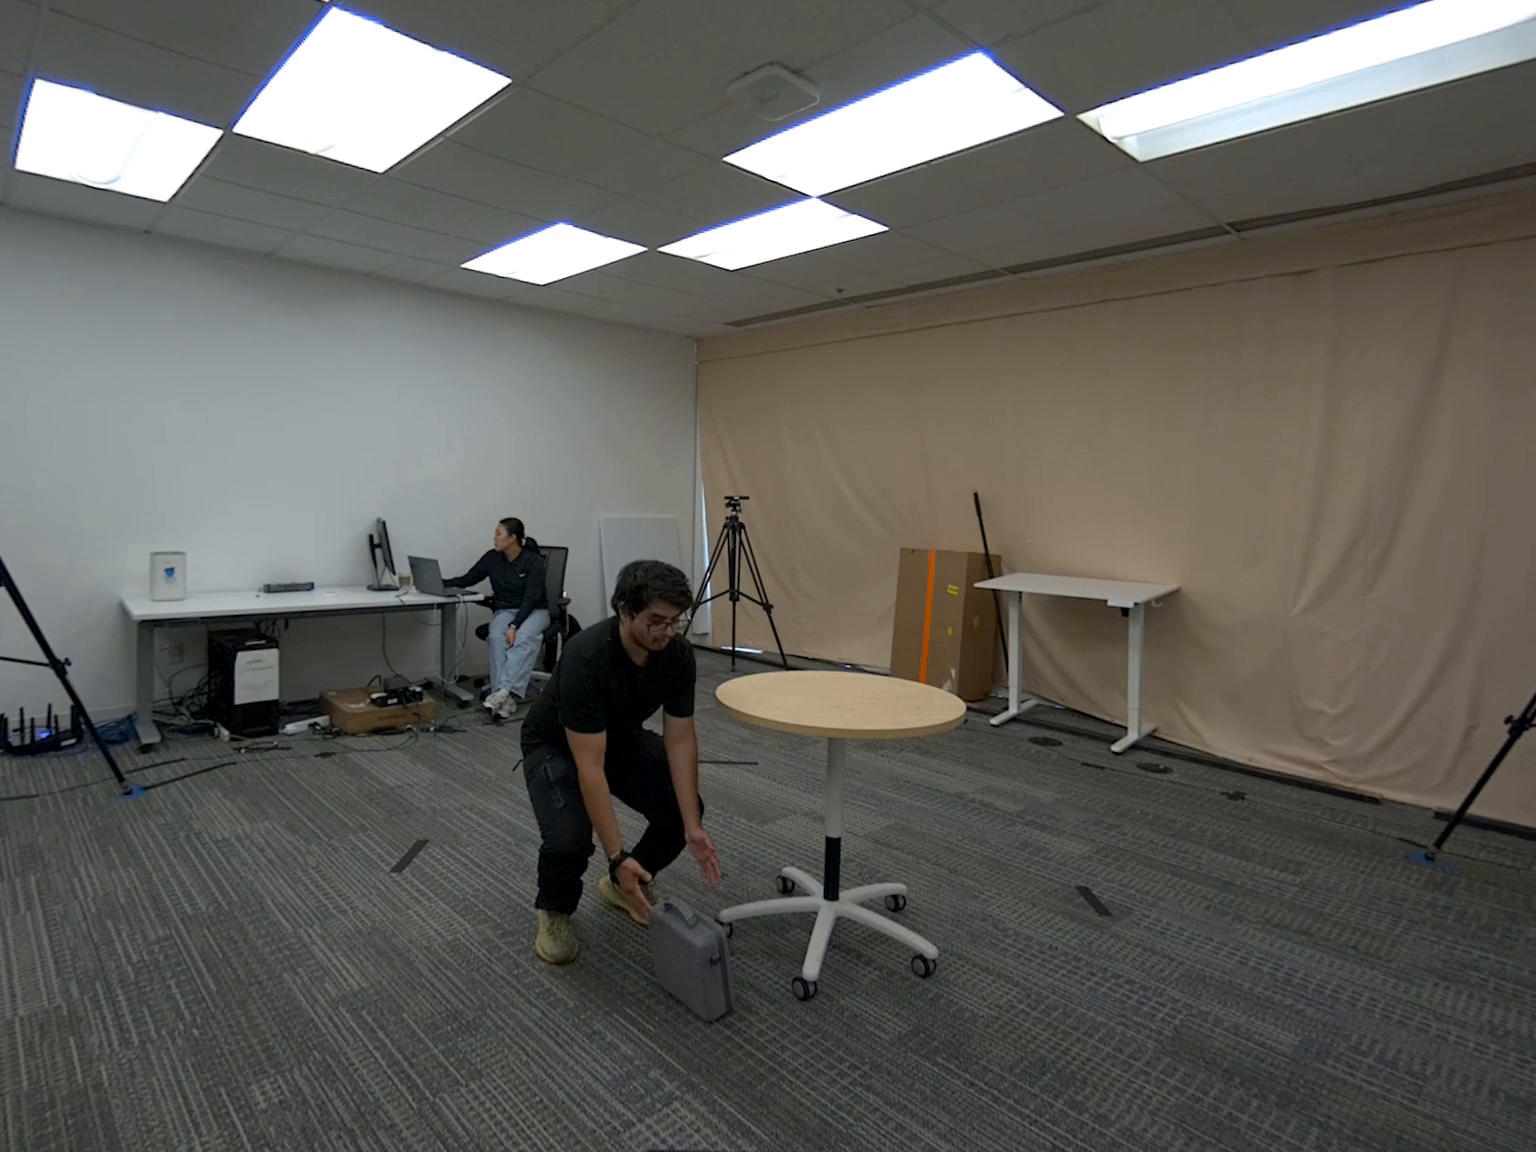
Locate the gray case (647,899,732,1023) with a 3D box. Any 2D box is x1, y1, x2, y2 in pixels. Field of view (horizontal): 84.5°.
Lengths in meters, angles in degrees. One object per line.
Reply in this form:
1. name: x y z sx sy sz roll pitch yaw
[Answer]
1. gray case: -0.223 1.047 2.297 0.102 0.258 0.264 -12 14 -39
